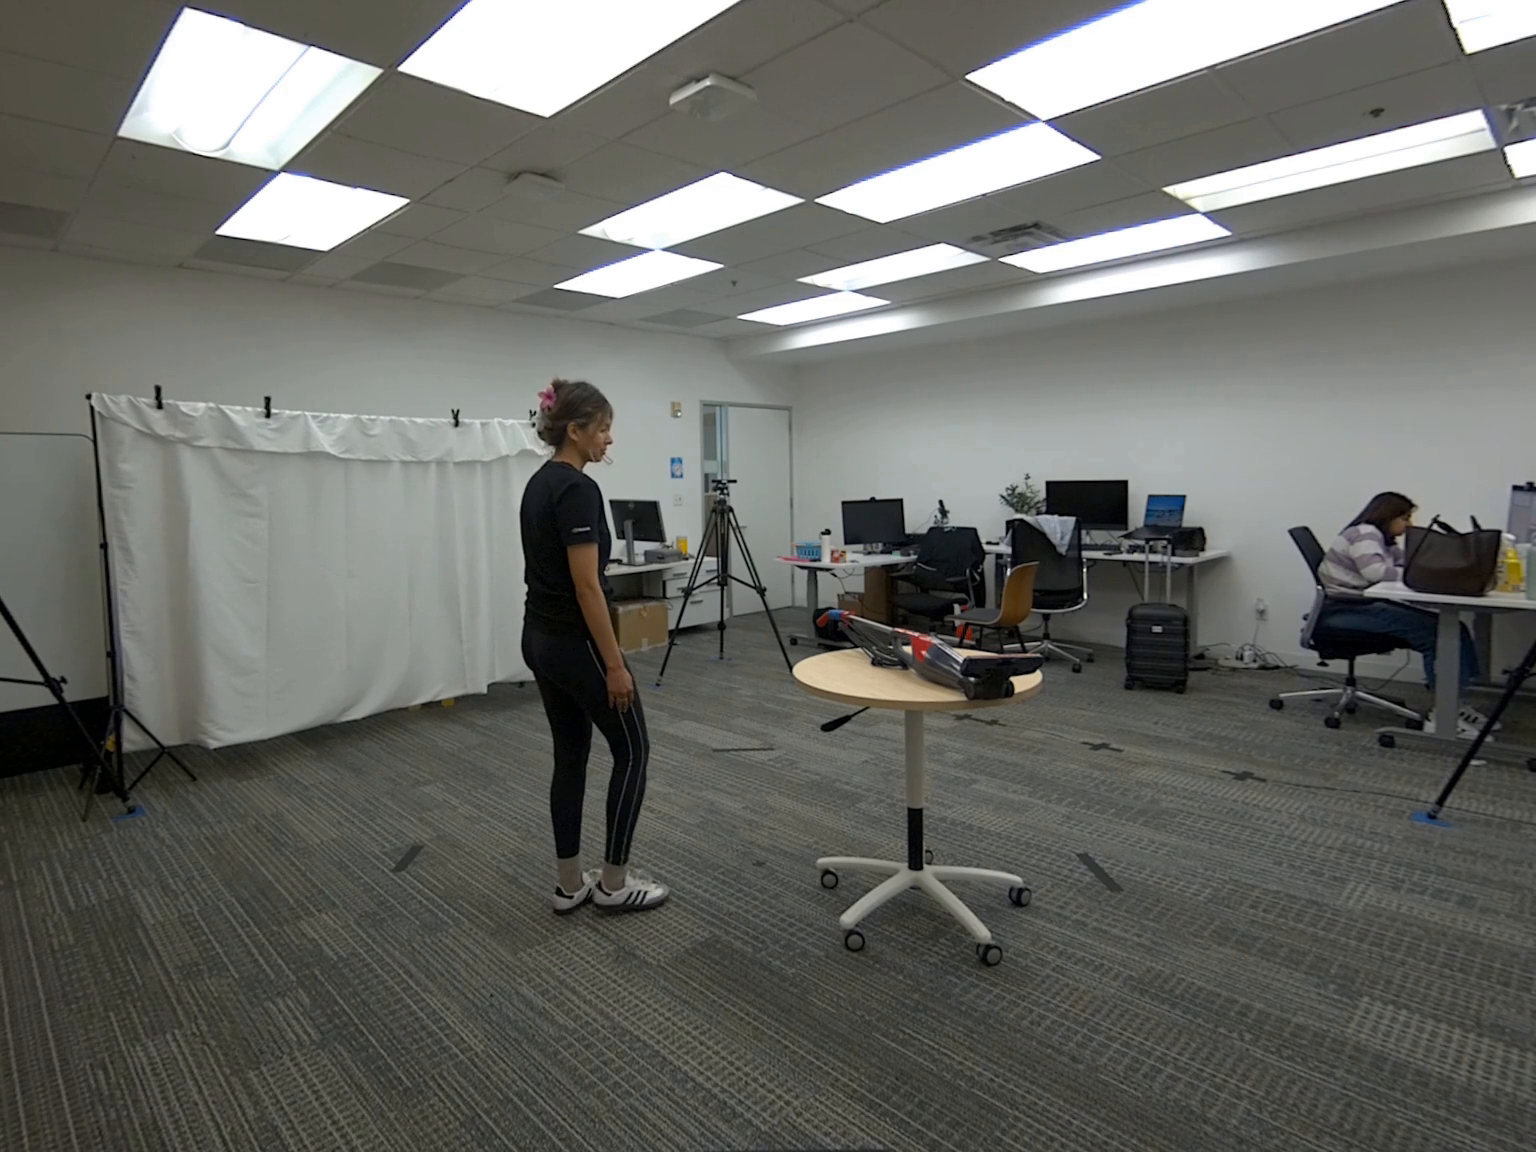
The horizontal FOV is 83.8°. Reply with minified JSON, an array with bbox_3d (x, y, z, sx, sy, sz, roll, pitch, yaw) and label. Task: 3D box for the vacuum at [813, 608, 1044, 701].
[{"bbox_3d":[0.402,0.240,2.782,0.247,0.144,1.074,3,4,-23],"label":"vacuum"}]
